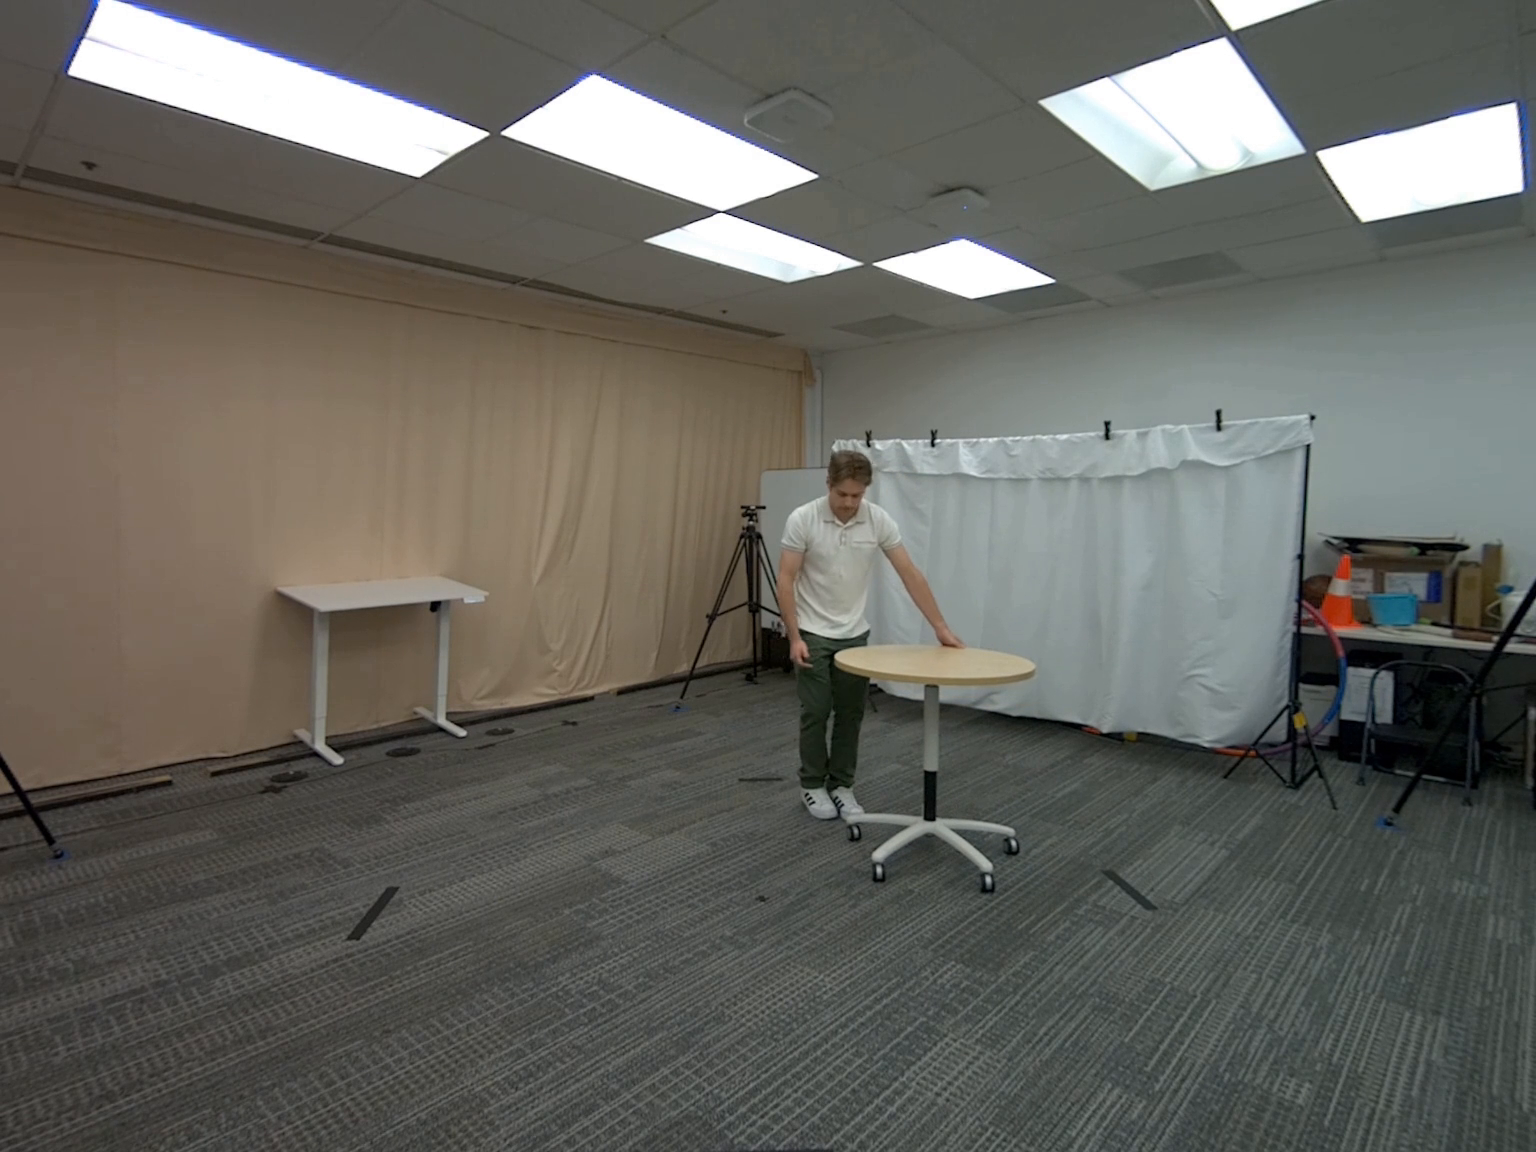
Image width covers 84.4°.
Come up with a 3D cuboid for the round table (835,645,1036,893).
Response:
[{"bbox_3d":[0.639,0.719,3.349,0.784,0.785,0.787,1,3,-2],"label":"round table"}]
